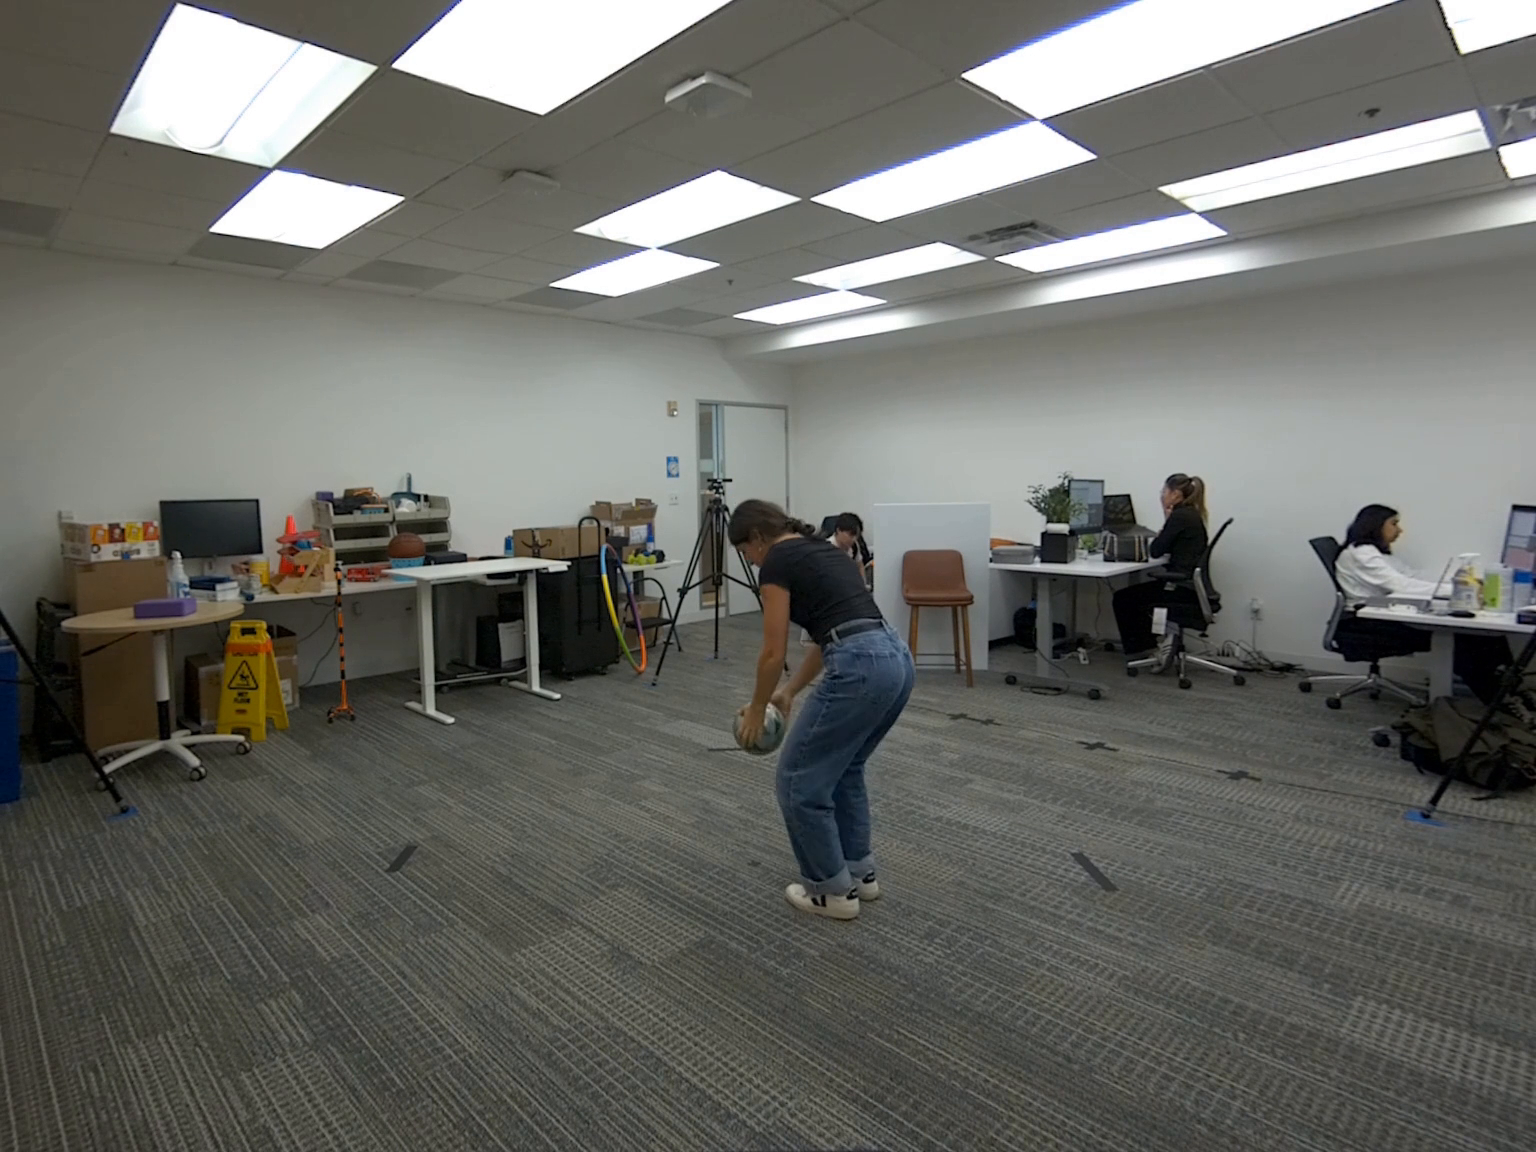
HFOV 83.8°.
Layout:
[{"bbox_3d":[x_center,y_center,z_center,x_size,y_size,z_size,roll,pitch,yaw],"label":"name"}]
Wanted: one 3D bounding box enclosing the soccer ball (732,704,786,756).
[{"bbox_3d":[-0.014,0.496,2.991,0.187,0.187,0.188,-1,5,-2],"label":"soccer ball"}]
